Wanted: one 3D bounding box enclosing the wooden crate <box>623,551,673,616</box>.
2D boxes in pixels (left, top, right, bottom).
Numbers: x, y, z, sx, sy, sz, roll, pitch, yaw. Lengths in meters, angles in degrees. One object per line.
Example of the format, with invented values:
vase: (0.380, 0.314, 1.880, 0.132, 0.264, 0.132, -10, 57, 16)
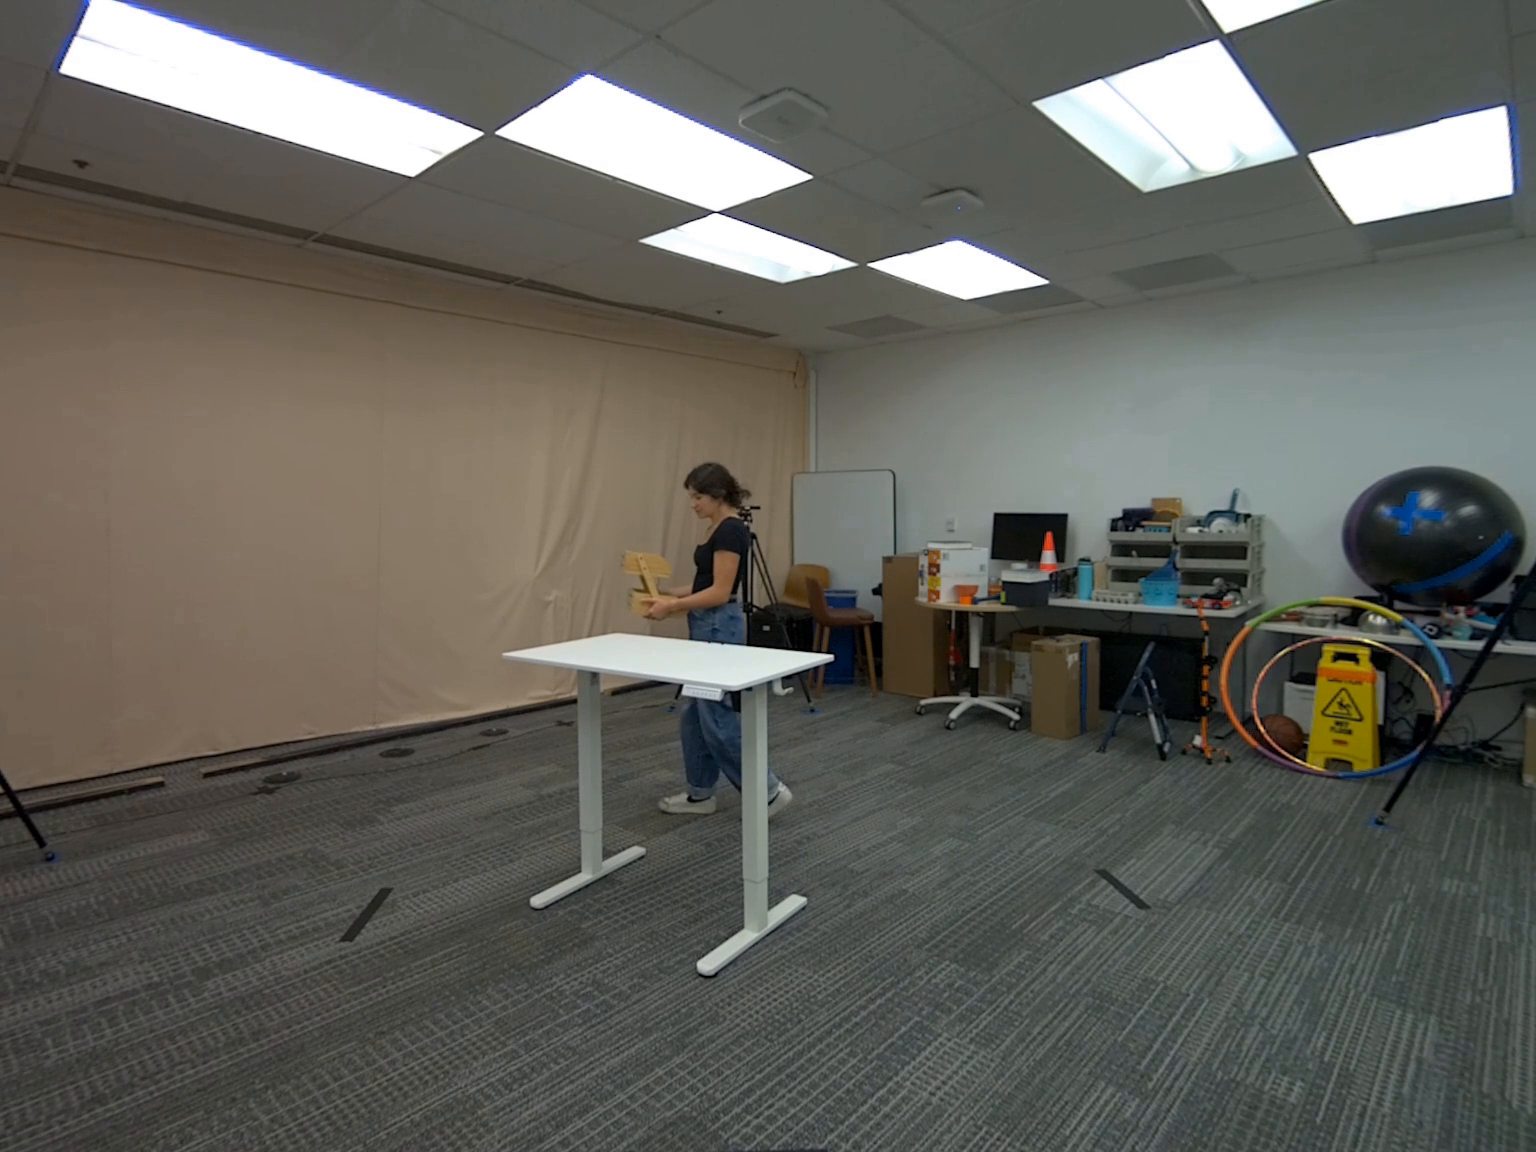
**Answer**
wooden crate: (-0.495, 0.033, 3.770, 0.299, 0.273, 0.328, 7, 0, -11)
